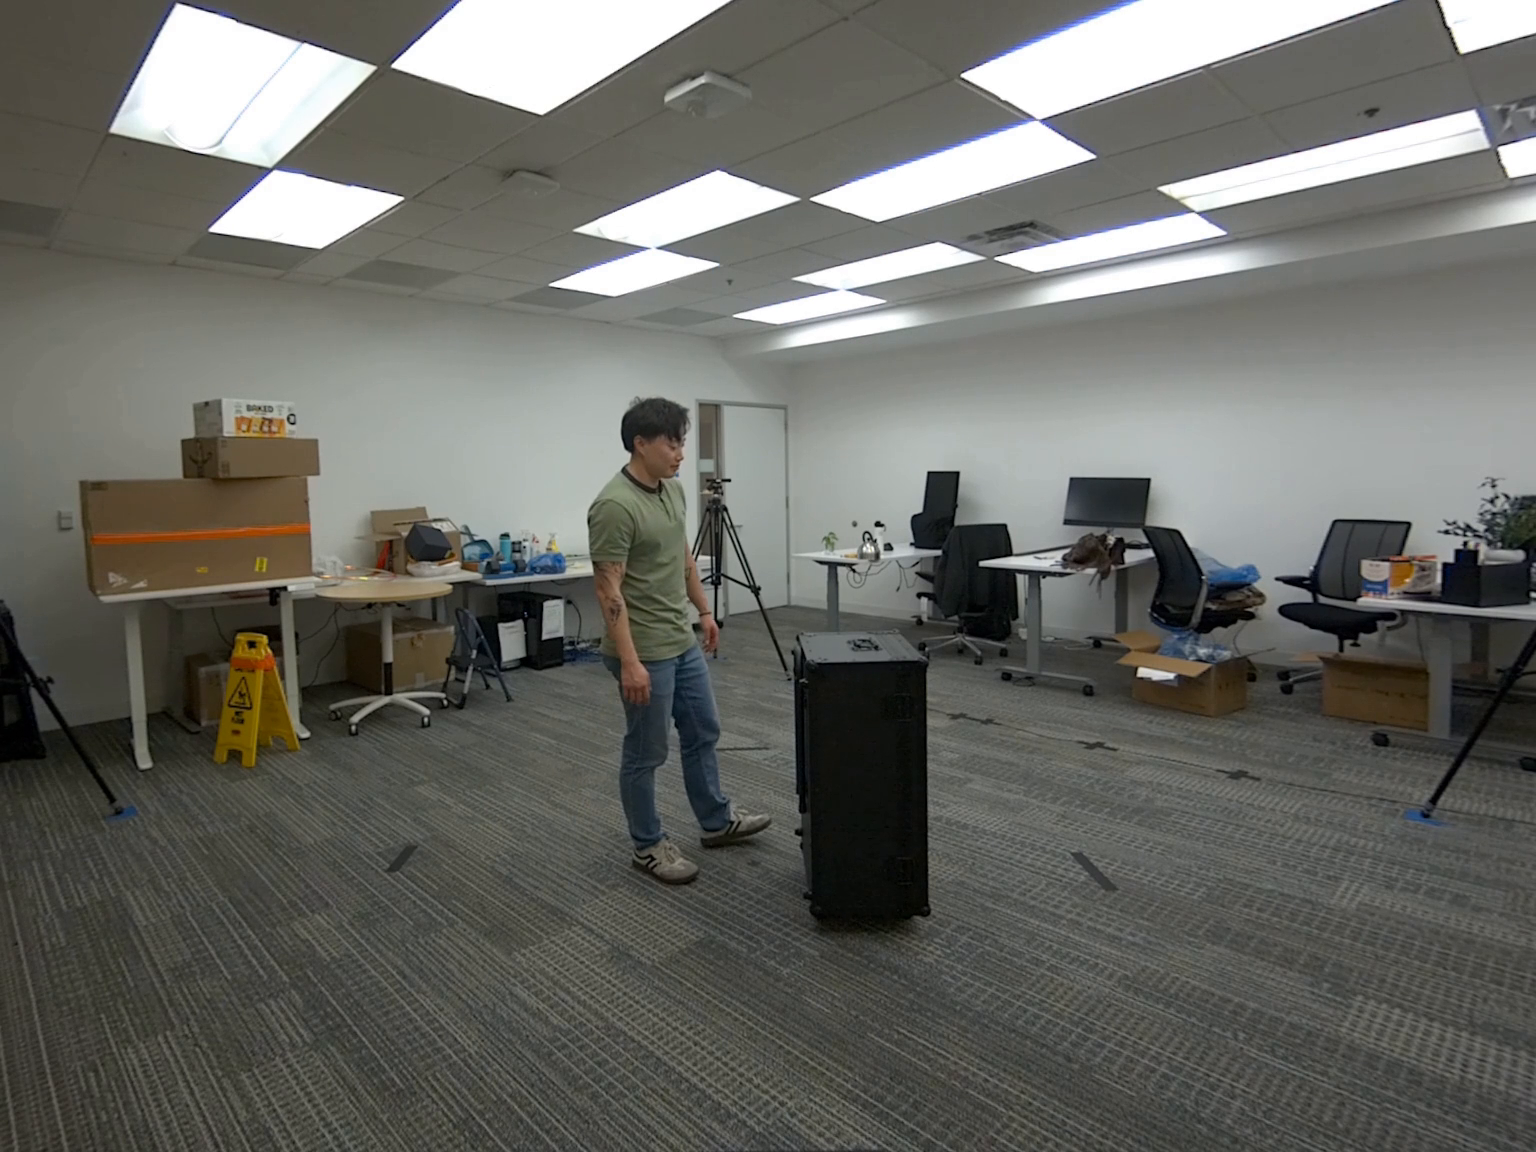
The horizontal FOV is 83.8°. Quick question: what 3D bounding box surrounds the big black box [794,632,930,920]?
[{"bbox_3d":[0.292,0.650,2.781,0.397,0.858,0.522,-1,4,2],"label":"big black box"}]
